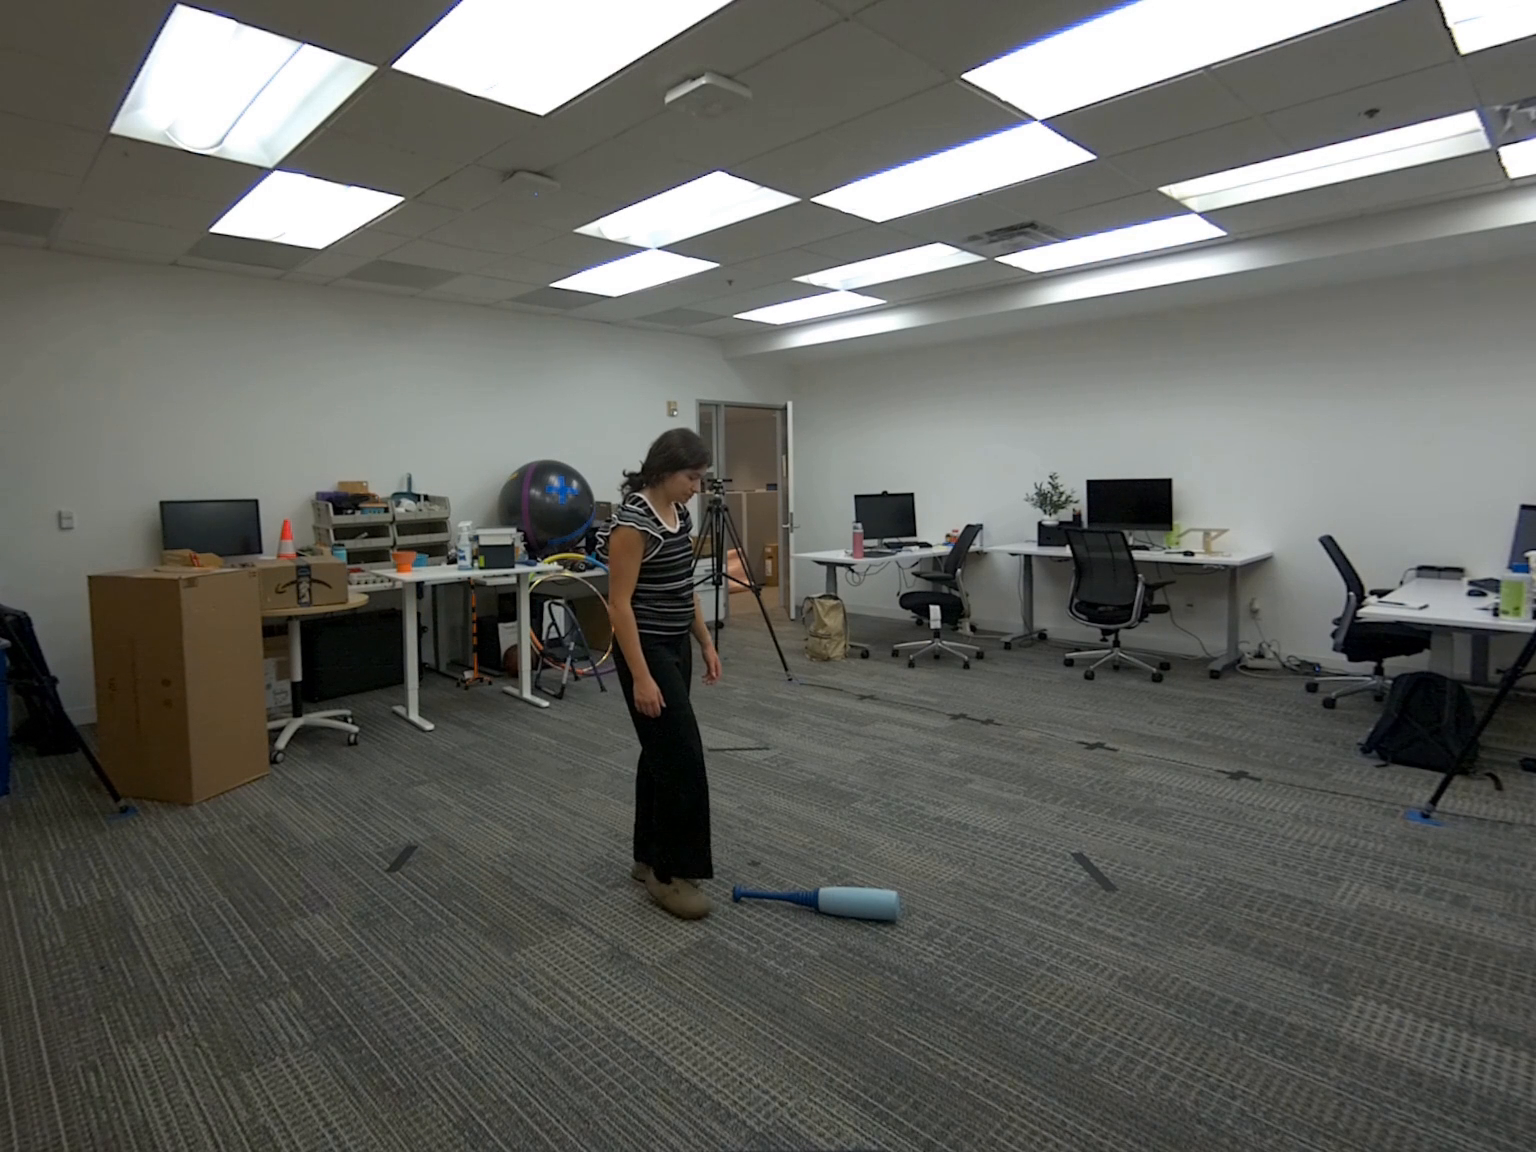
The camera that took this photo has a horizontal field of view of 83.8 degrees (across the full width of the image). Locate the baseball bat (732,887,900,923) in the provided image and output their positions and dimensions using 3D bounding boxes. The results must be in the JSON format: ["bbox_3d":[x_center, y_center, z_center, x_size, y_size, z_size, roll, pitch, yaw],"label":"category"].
[{"bbox_3d":[0.148,1.044,2.758,0.551,0.089,0.088,-2,4,16],"label":"baseball bat"}]
